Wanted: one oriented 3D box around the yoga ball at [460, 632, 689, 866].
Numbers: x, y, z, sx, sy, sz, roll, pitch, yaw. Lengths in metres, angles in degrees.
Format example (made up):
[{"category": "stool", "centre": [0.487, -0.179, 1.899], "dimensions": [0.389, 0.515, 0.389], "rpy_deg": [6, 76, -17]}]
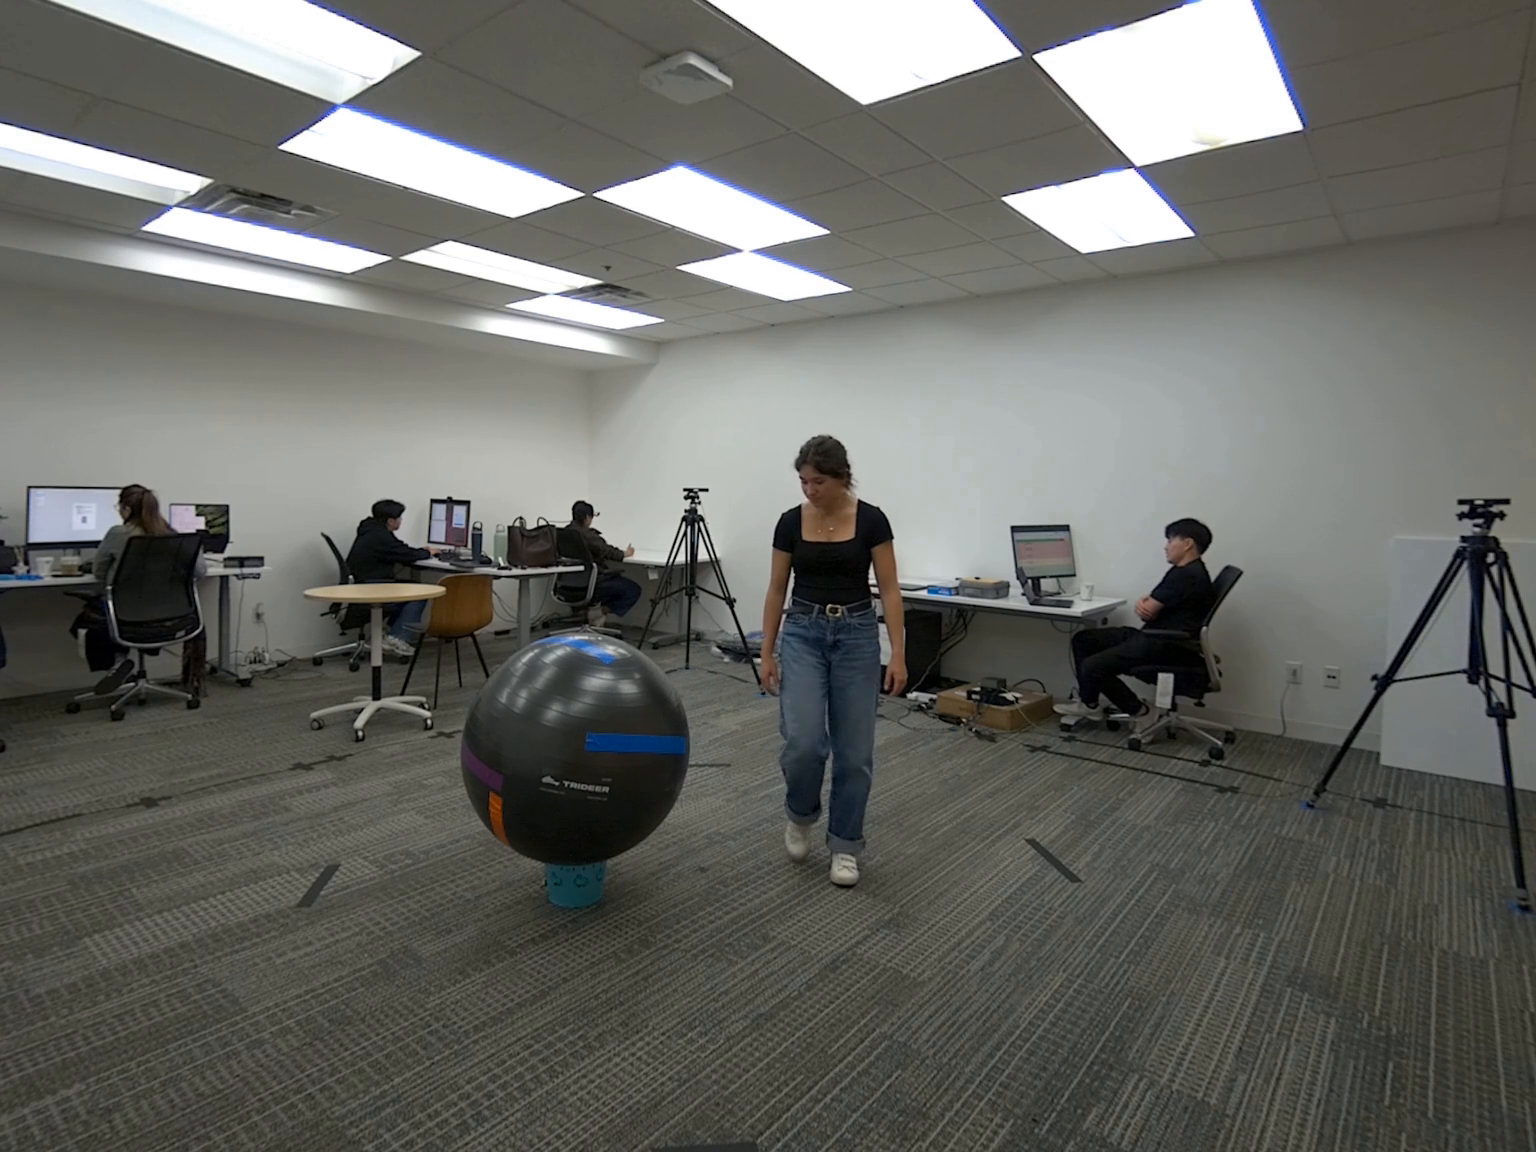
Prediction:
[{"category": "yoga ball", "centre": [-0.654, 0.571, 2.863], "dimensions": [0.757, 0.755, 0.762], "rpy_deg": [1, 4, -2]}]
